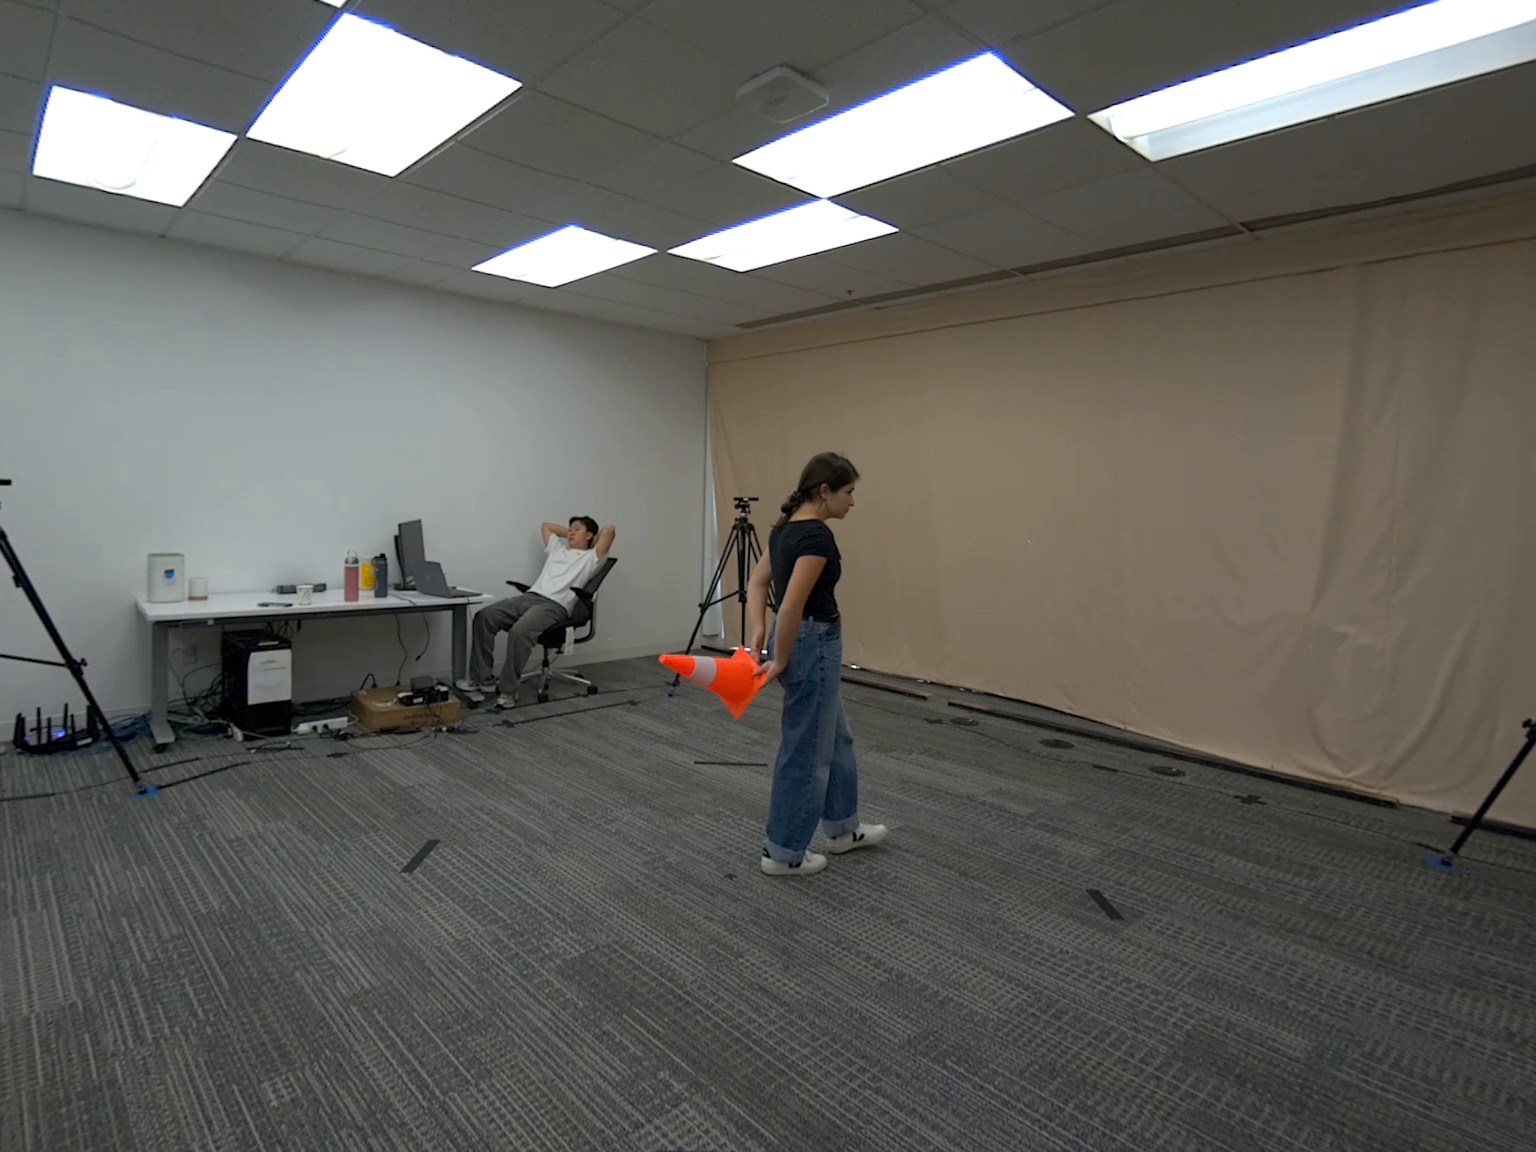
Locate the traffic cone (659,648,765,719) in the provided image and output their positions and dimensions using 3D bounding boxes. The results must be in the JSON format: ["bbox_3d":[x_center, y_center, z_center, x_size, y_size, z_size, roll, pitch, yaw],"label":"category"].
[{"bbox_3d":[-0.224,0.334,2.941,0.372,0.204,0.210,24,16,-40],"label":"traffic cone"}]
